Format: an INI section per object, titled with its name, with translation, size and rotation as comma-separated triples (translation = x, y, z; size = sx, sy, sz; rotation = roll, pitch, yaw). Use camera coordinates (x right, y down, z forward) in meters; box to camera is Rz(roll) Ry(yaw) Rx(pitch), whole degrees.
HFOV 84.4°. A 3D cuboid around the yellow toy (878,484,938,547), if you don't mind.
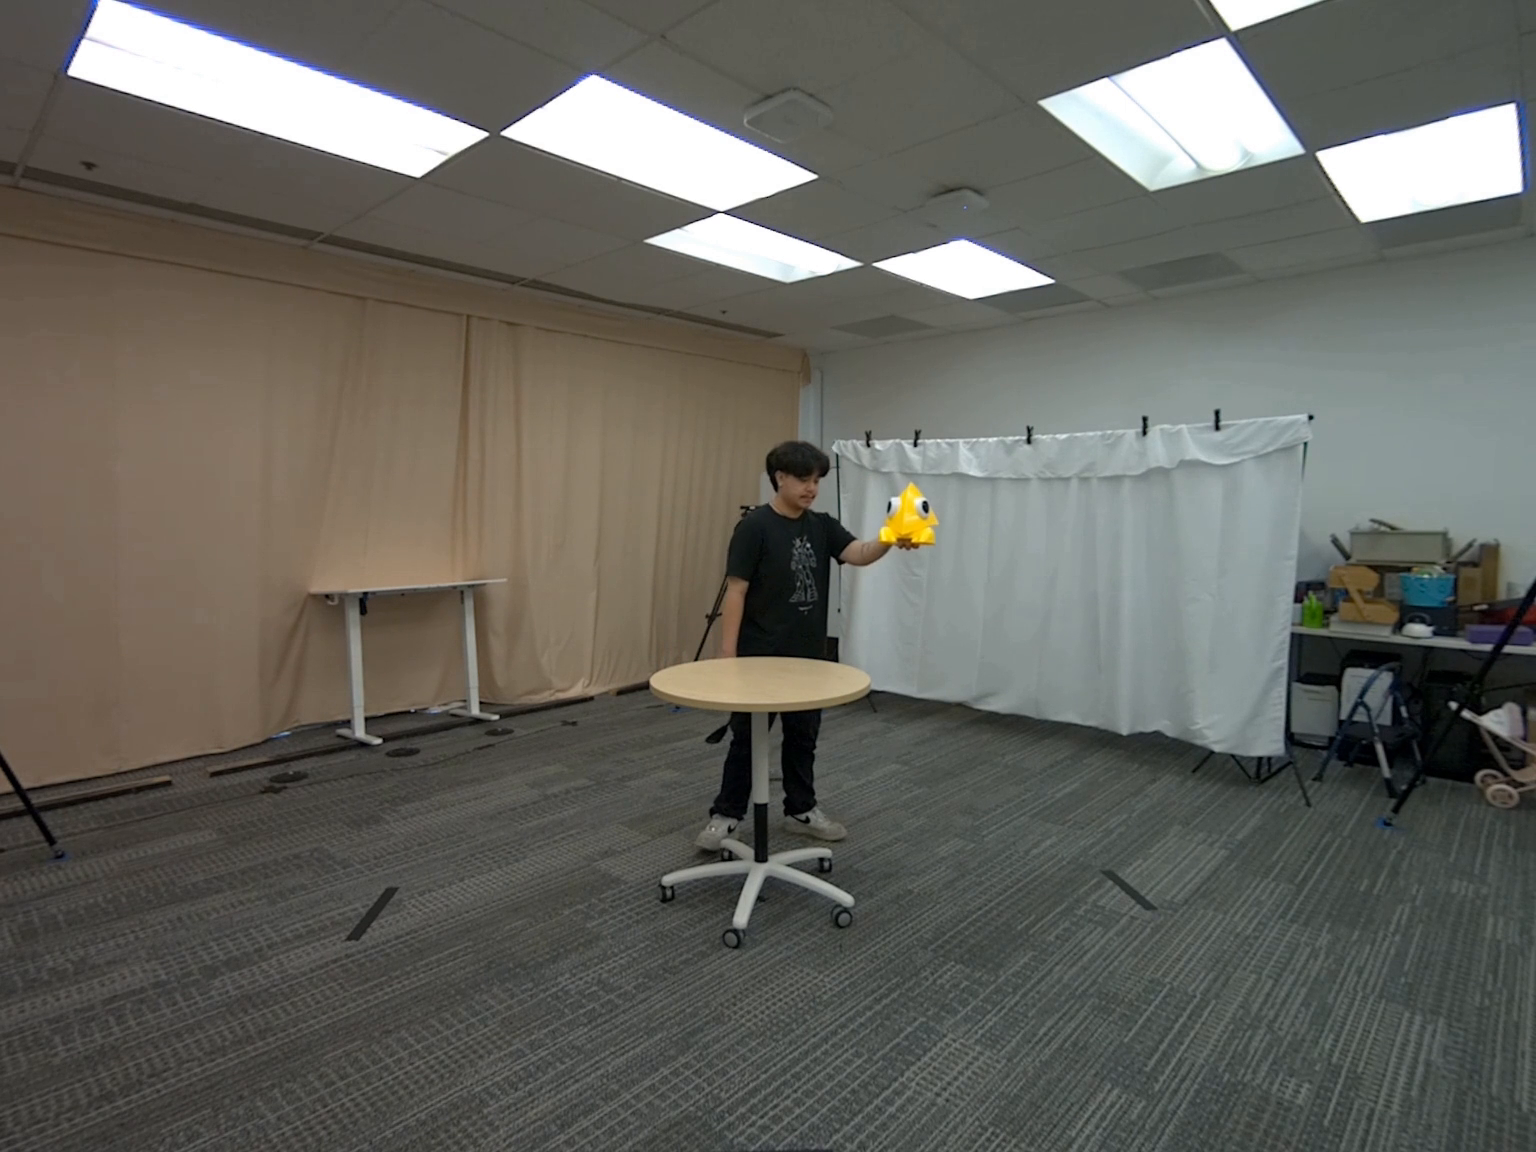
[yellow toy]
translation = 0.508, -0.231, 3.035
size = 0.209, 0.231, 0.189
rotation = 3, -3, 19
